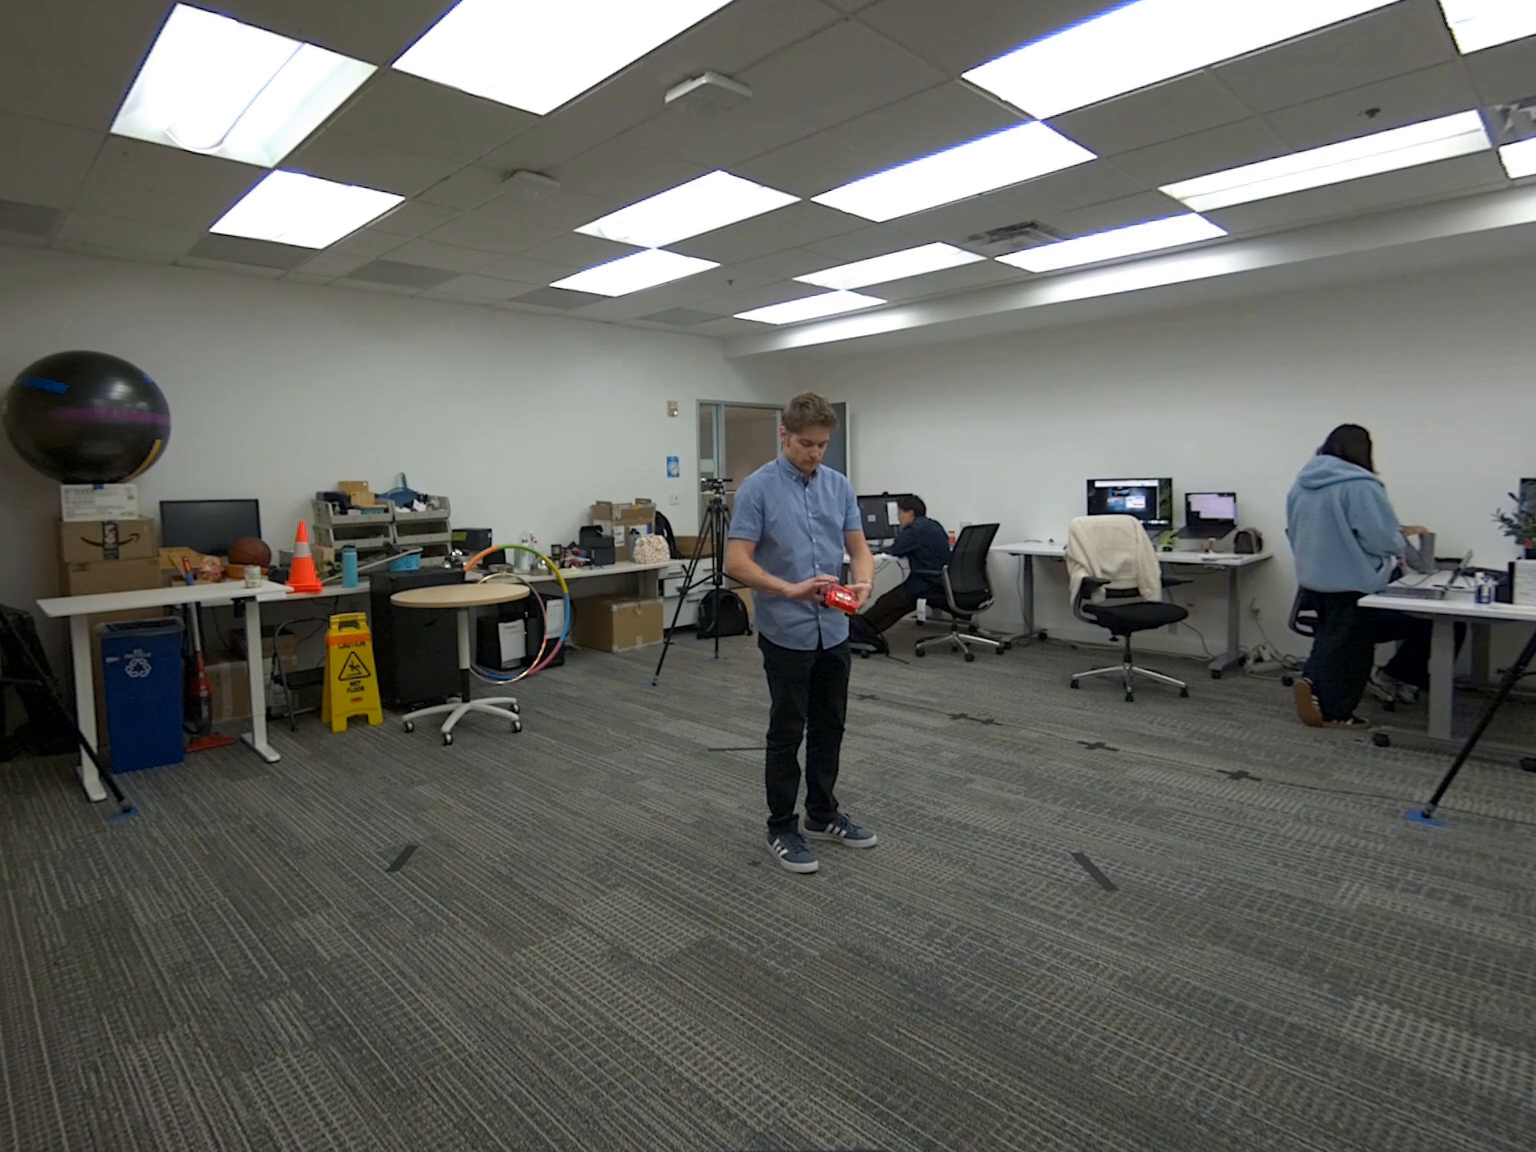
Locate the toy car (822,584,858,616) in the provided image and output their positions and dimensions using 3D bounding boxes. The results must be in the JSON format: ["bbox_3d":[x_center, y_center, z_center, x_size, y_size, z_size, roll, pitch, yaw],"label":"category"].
[{"bbox_3d":[0.227,0.079,2.867,0.129,0.083,0.256,19,1,-8],"label":"toy car"}]
